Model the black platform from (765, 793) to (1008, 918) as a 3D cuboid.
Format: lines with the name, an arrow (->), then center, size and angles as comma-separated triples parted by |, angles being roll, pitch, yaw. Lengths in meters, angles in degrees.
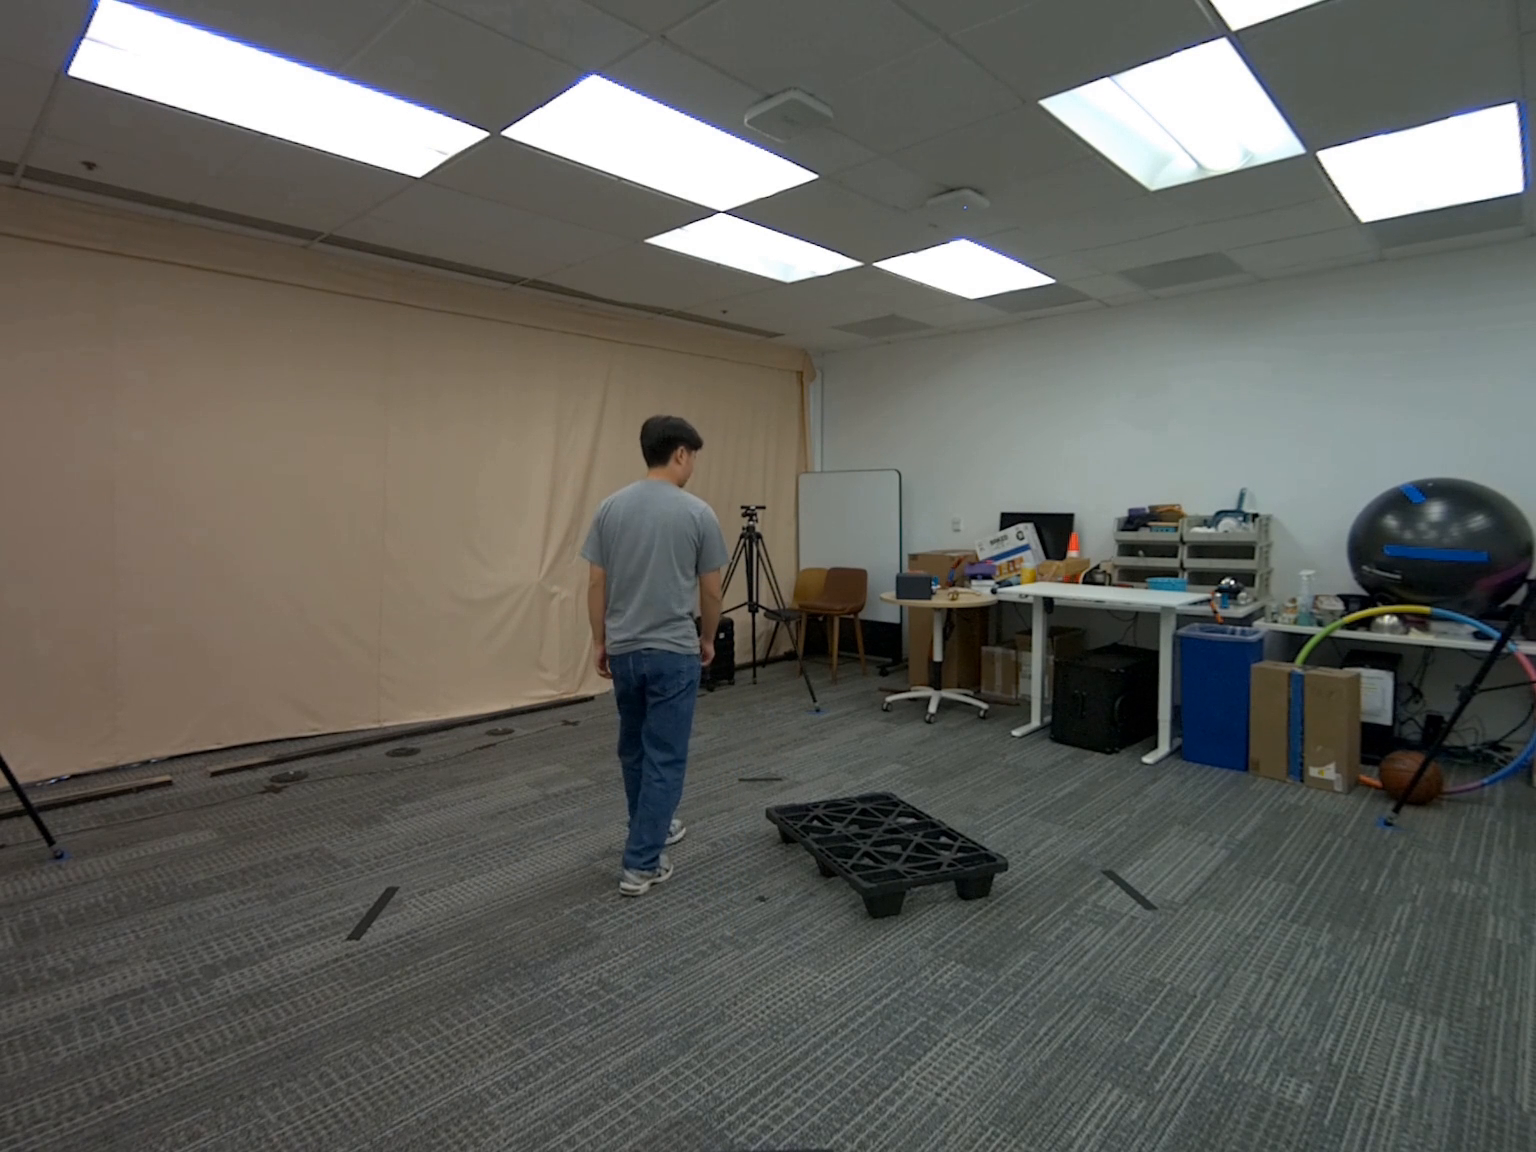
black platform -> 0.424, 1.054, 3.239 | 0.592, 0.143, 0.825 | -2, 5, -23
